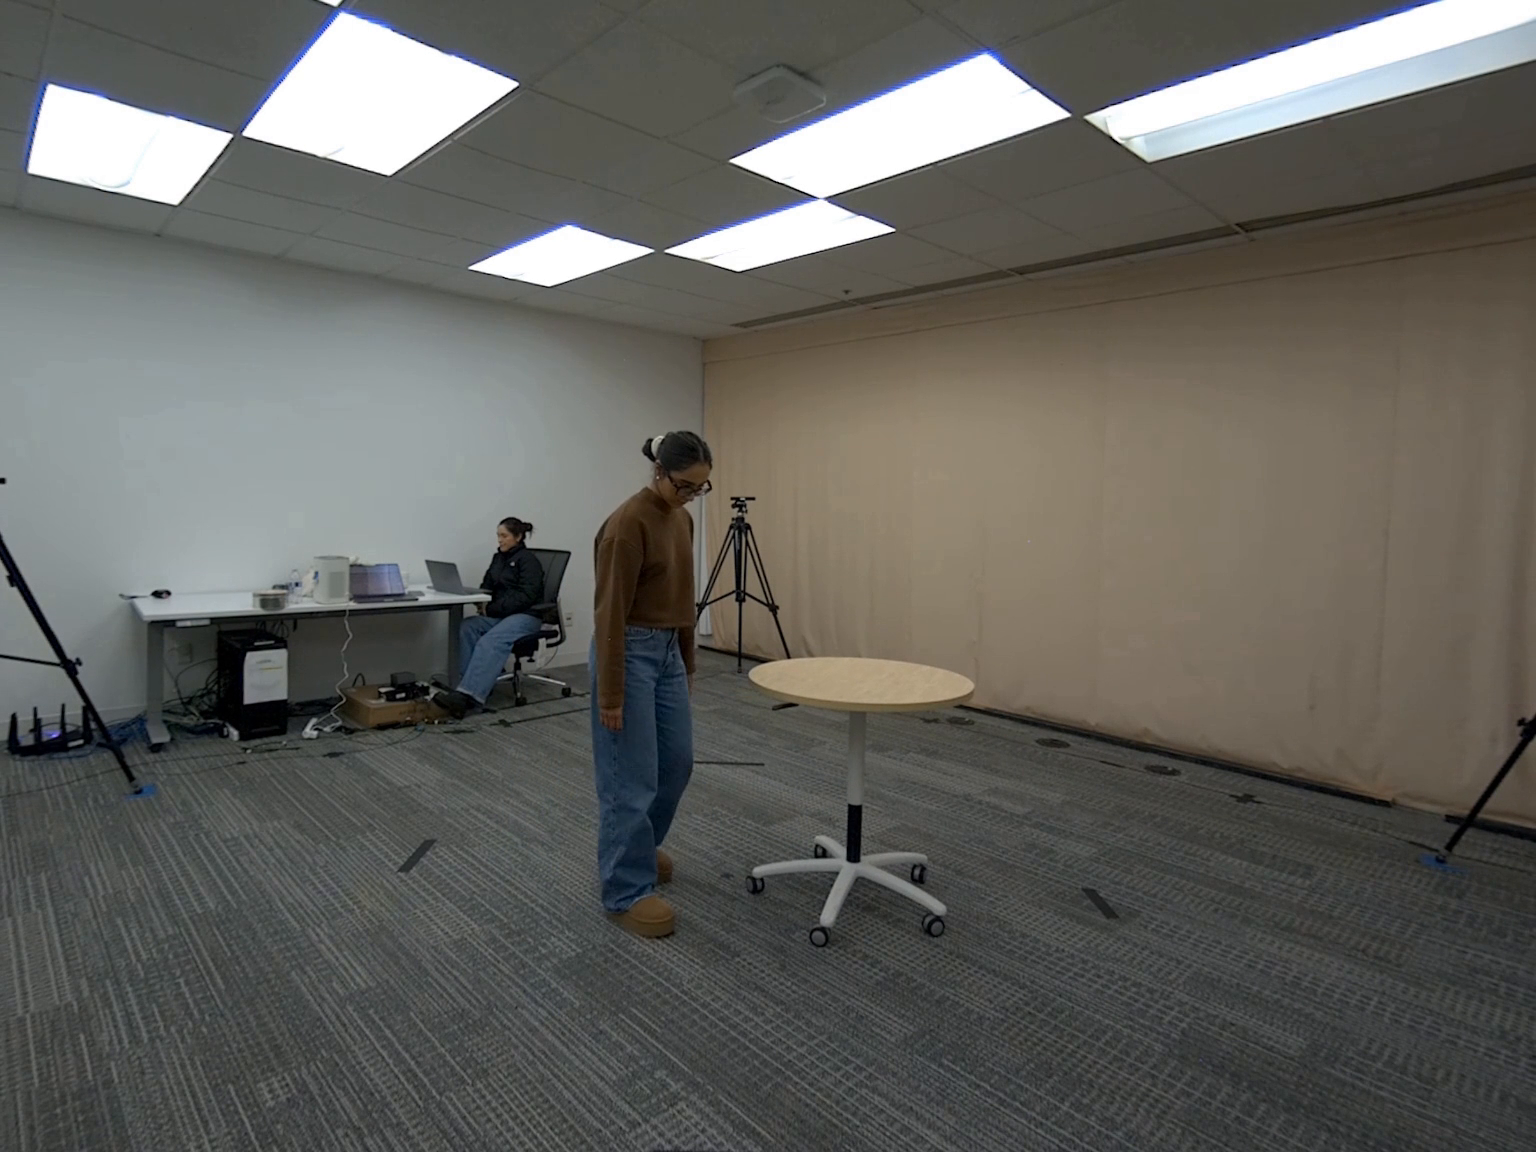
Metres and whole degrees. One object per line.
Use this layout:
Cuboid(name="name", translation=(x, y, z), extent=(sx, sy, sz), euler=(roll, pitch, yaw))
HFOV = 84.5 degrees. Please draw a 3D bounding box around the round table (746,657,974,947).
Cuboid(name="round table", translation=(0.293, 0.745, 2.926), extent=(0.763, 0.792, 0.766), euler=(2, 4, -1))
